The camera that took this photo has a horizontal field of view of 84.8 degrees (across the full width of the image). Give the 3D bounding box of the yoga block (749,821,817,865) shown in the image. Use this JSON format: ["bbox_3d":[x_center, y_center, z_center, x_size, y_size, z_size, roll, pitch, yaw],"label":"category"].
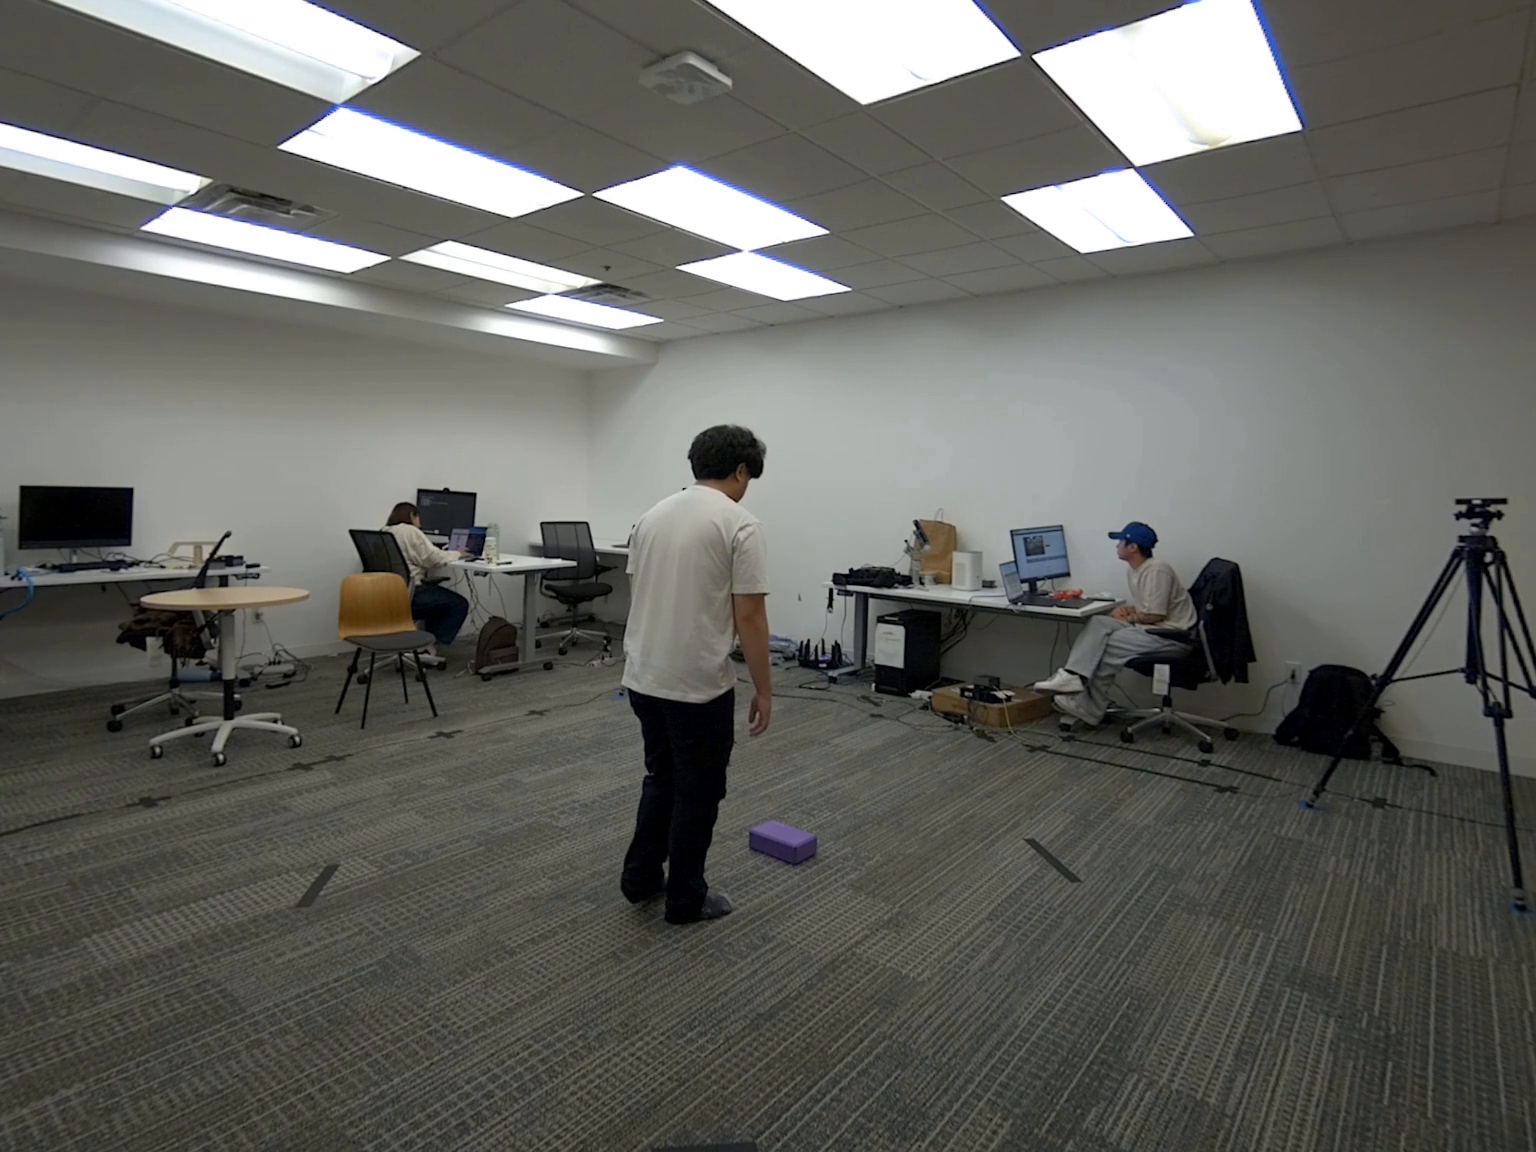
[{"bbox_3d":[0.049,1.020,3.276,0.237,0.076,0.144,5,6,38],"label":"yoga block"}]
